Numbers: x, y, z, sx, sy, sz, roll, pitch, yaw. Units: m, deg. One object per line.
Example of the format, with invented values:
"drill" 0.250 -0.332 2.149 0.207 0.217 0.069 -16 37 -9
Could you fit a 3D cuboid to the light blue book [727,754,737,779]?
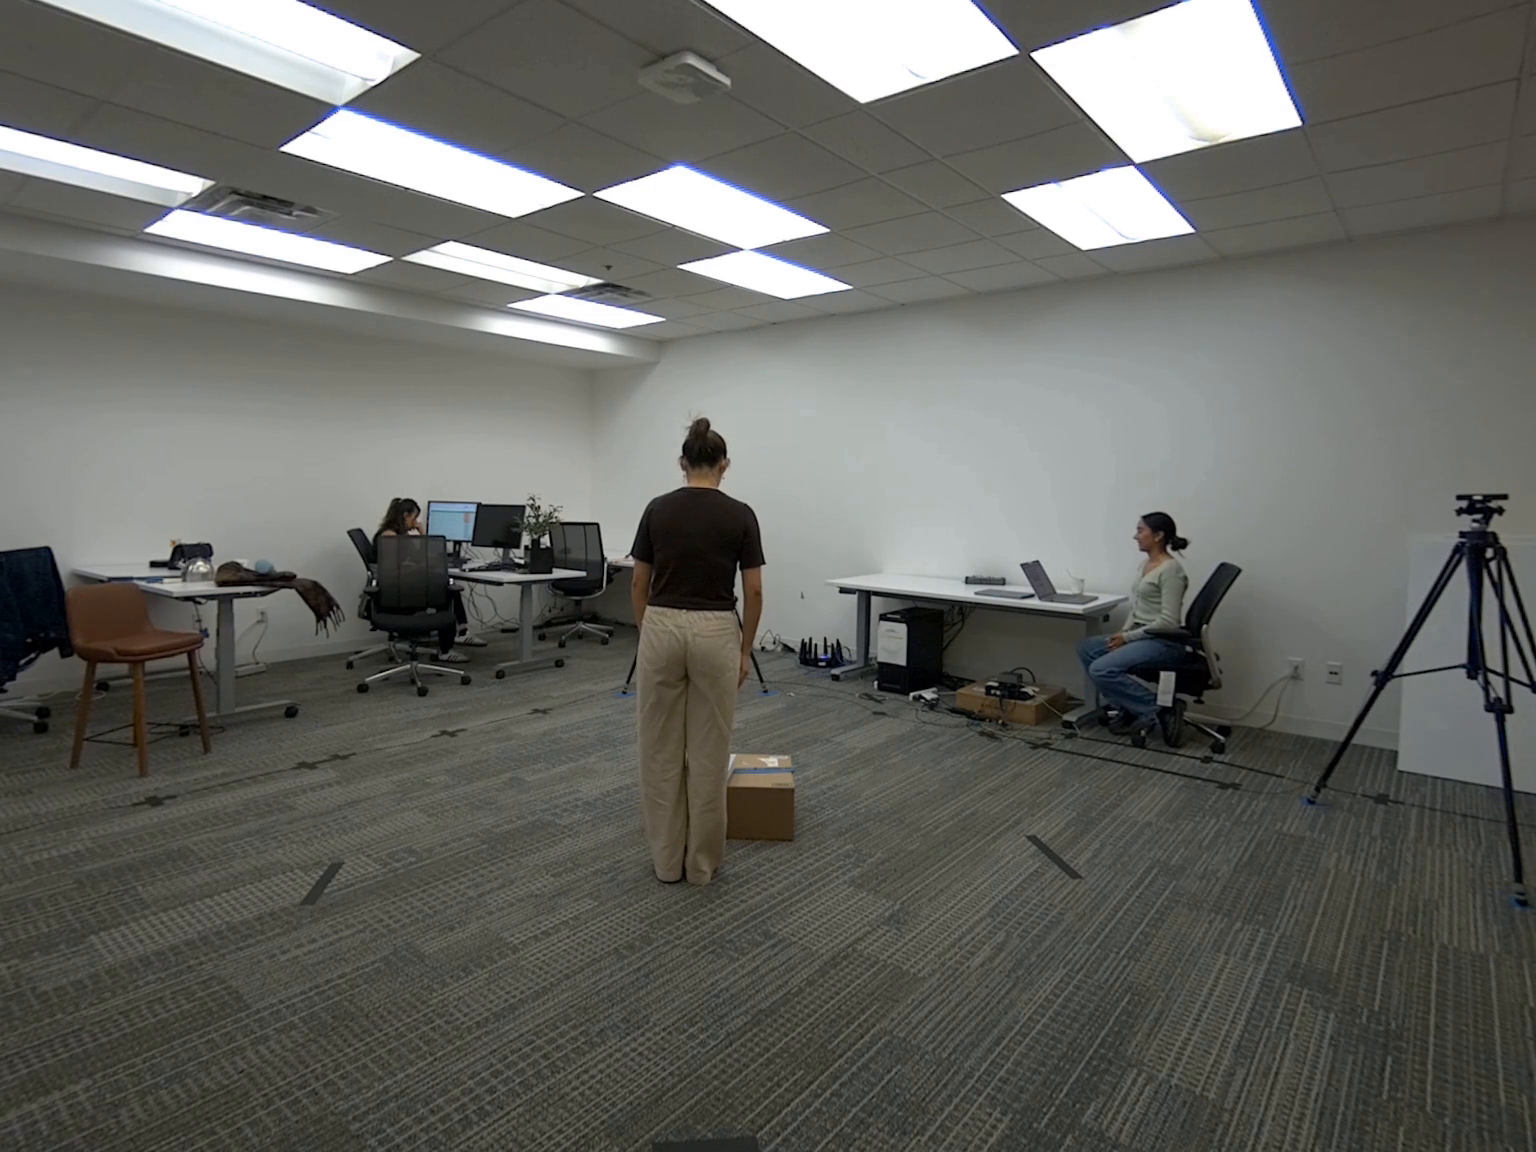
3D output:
"light blue book" -0.248 0.780 3.485 0.193 0.059 0.259 2 4 7
